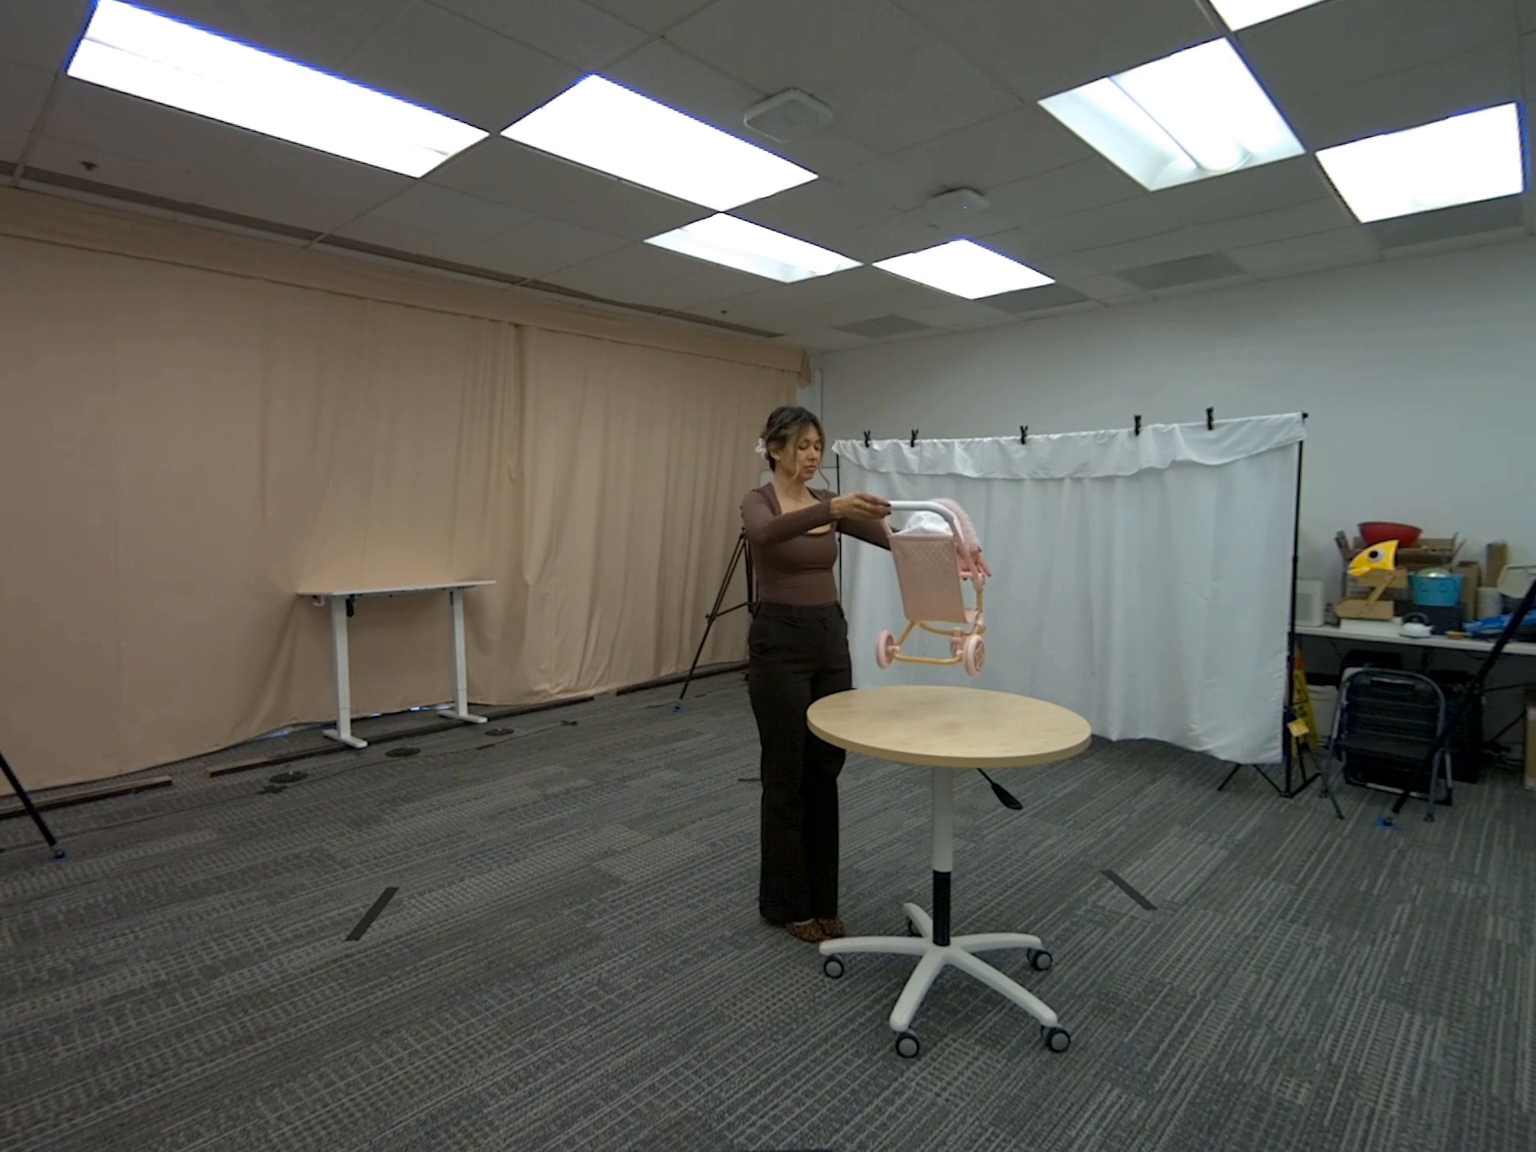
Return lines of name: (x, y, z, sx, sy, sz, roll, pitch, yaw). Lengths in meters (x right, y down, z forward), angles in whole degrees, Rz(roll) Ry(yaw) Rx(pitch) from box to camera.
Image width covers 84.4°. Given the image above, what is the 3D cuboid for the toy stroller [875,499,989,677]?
toy stroller: (0.478, 0.033, 2.329, 0.290, 0.530, 0.333, 1, 14, 38)
